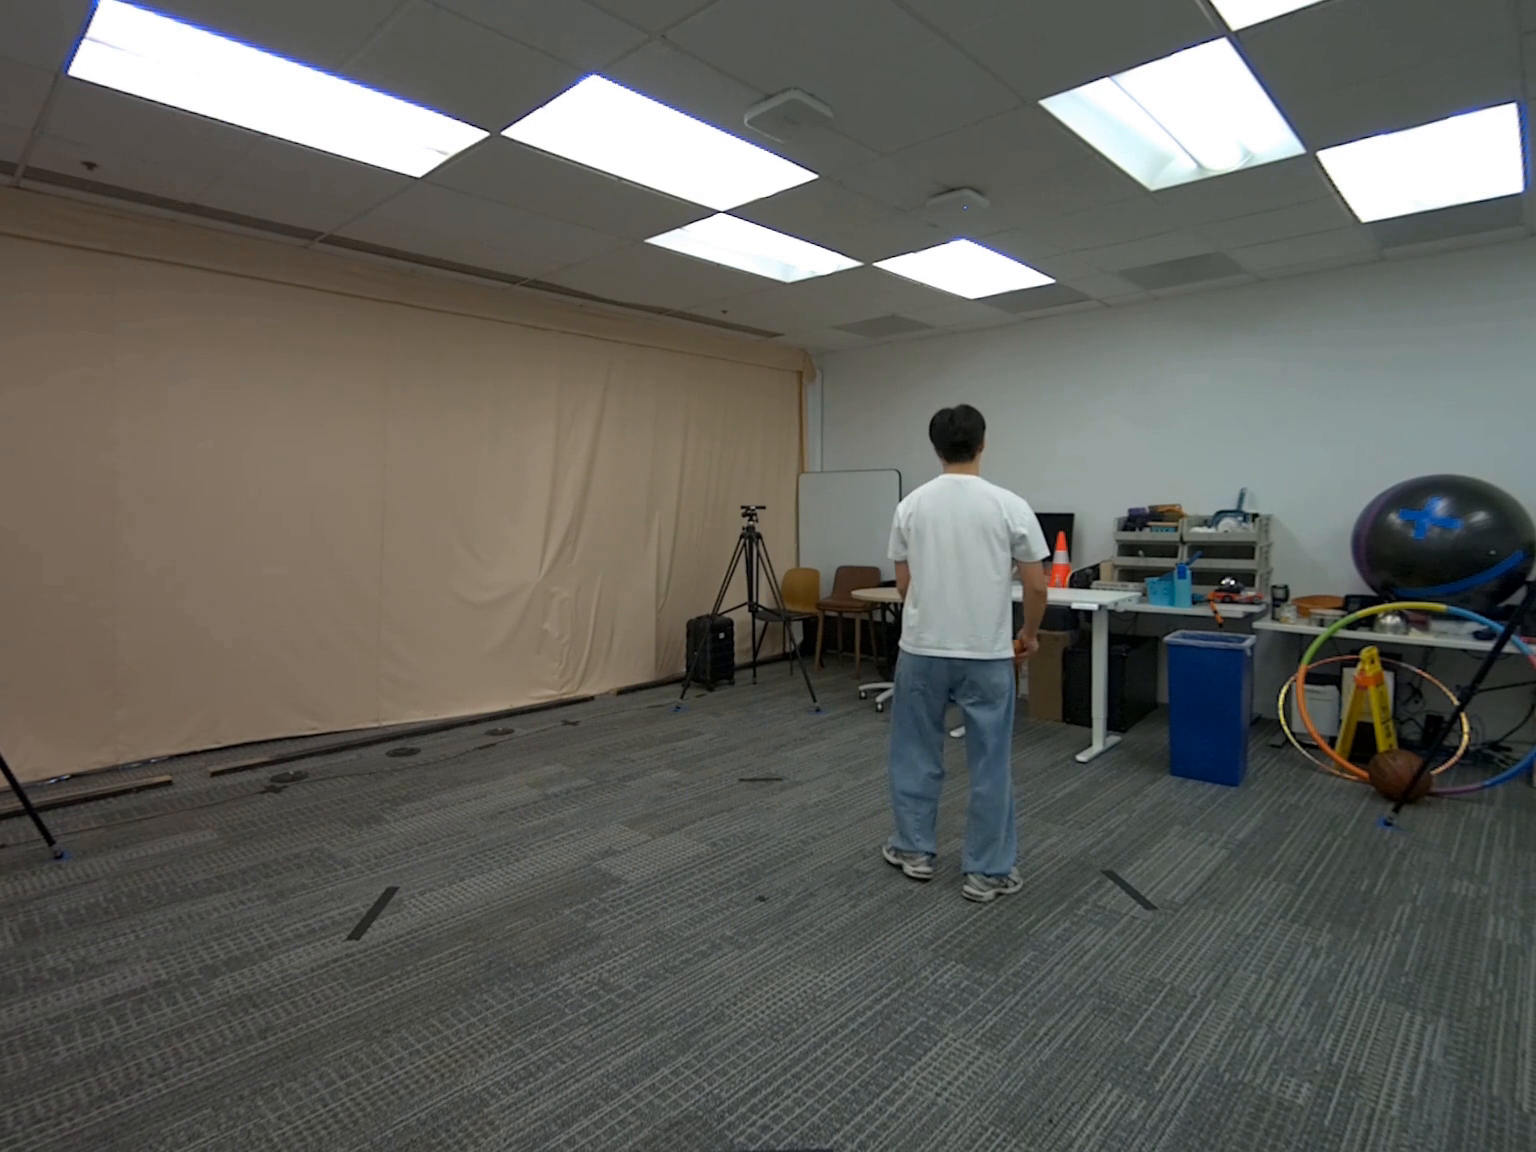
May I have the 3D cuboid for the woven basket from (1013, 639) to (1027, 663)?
[{"bbox_3d":[0.852,0.290,3.315,0.361,0.073,0.245,5,5,31],"label":"woven basket"}]
